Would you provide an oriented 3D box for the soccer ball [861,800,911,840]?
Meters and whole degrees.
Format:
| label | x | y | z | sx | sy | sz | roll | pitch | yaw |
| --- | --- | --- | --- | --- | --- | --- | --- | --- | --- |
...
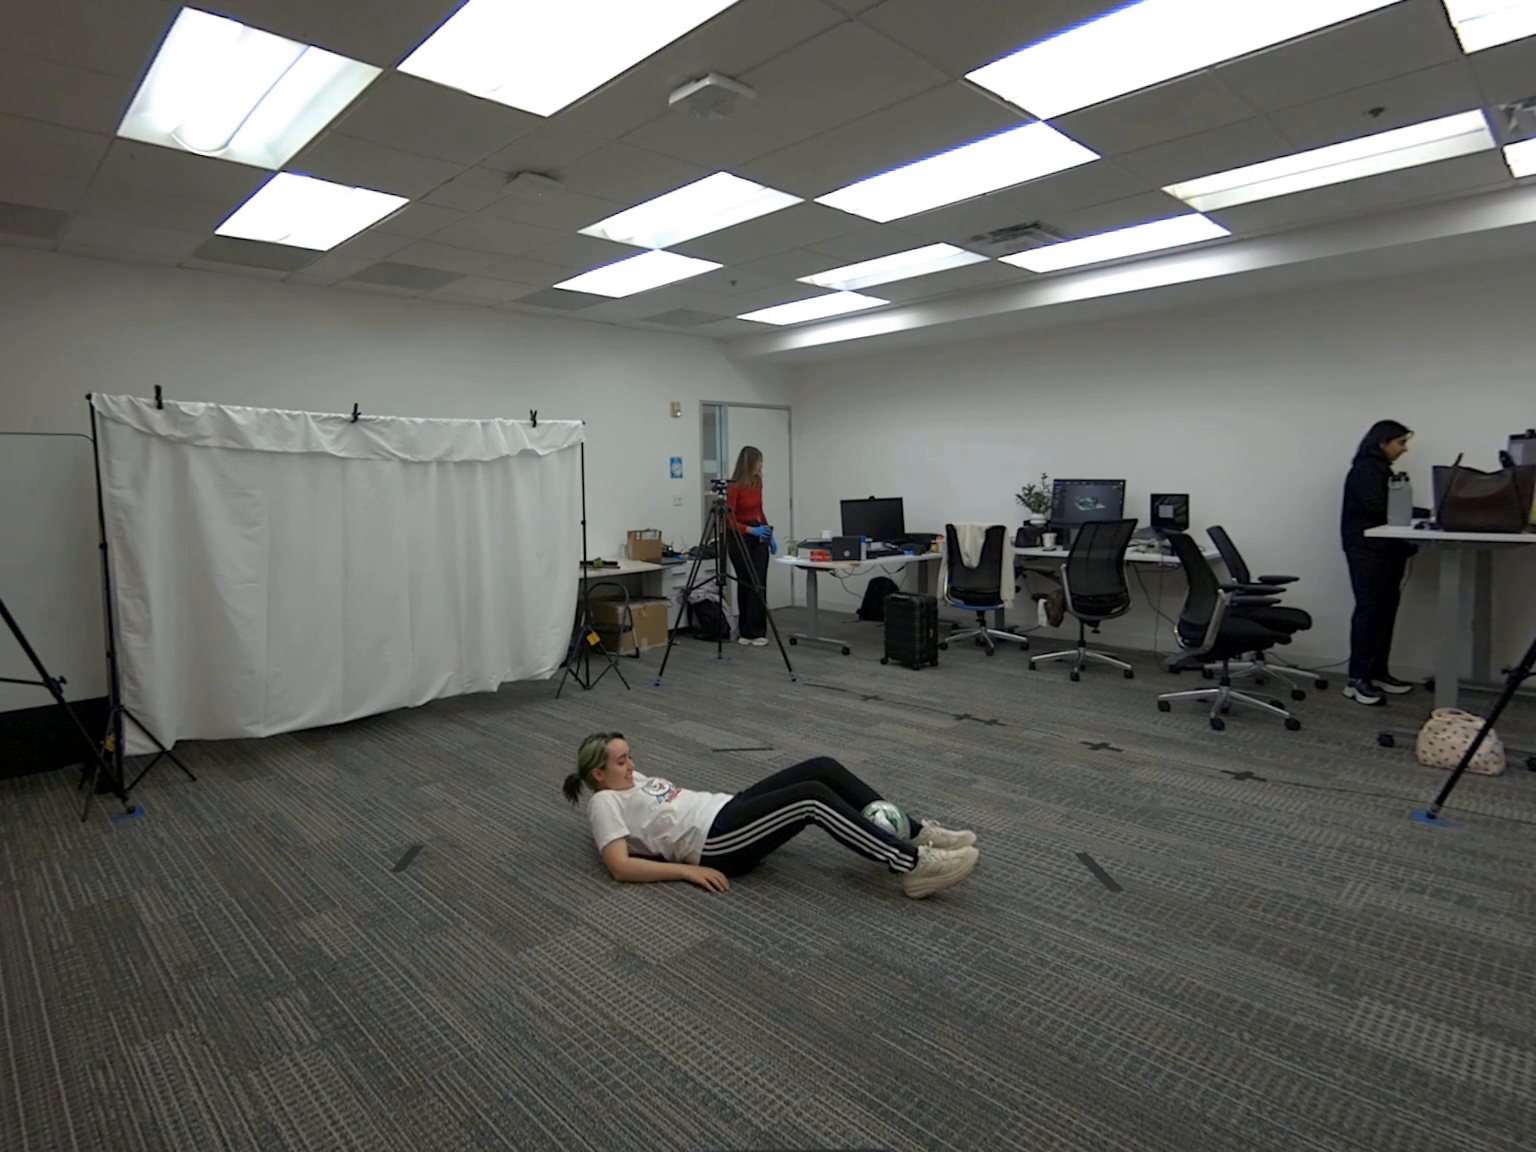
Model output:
| label | x | y | z | sx | sy | sz | roll | pitch | yaw |
| --- | --- | --- | --- | --- | --- | --- | --- | --- | --- |
| soccer ball | 0.398 | 0.888 | 3.007 | 0.187 | 0.187 | 0.188 | -1 | 5 | -2 |
